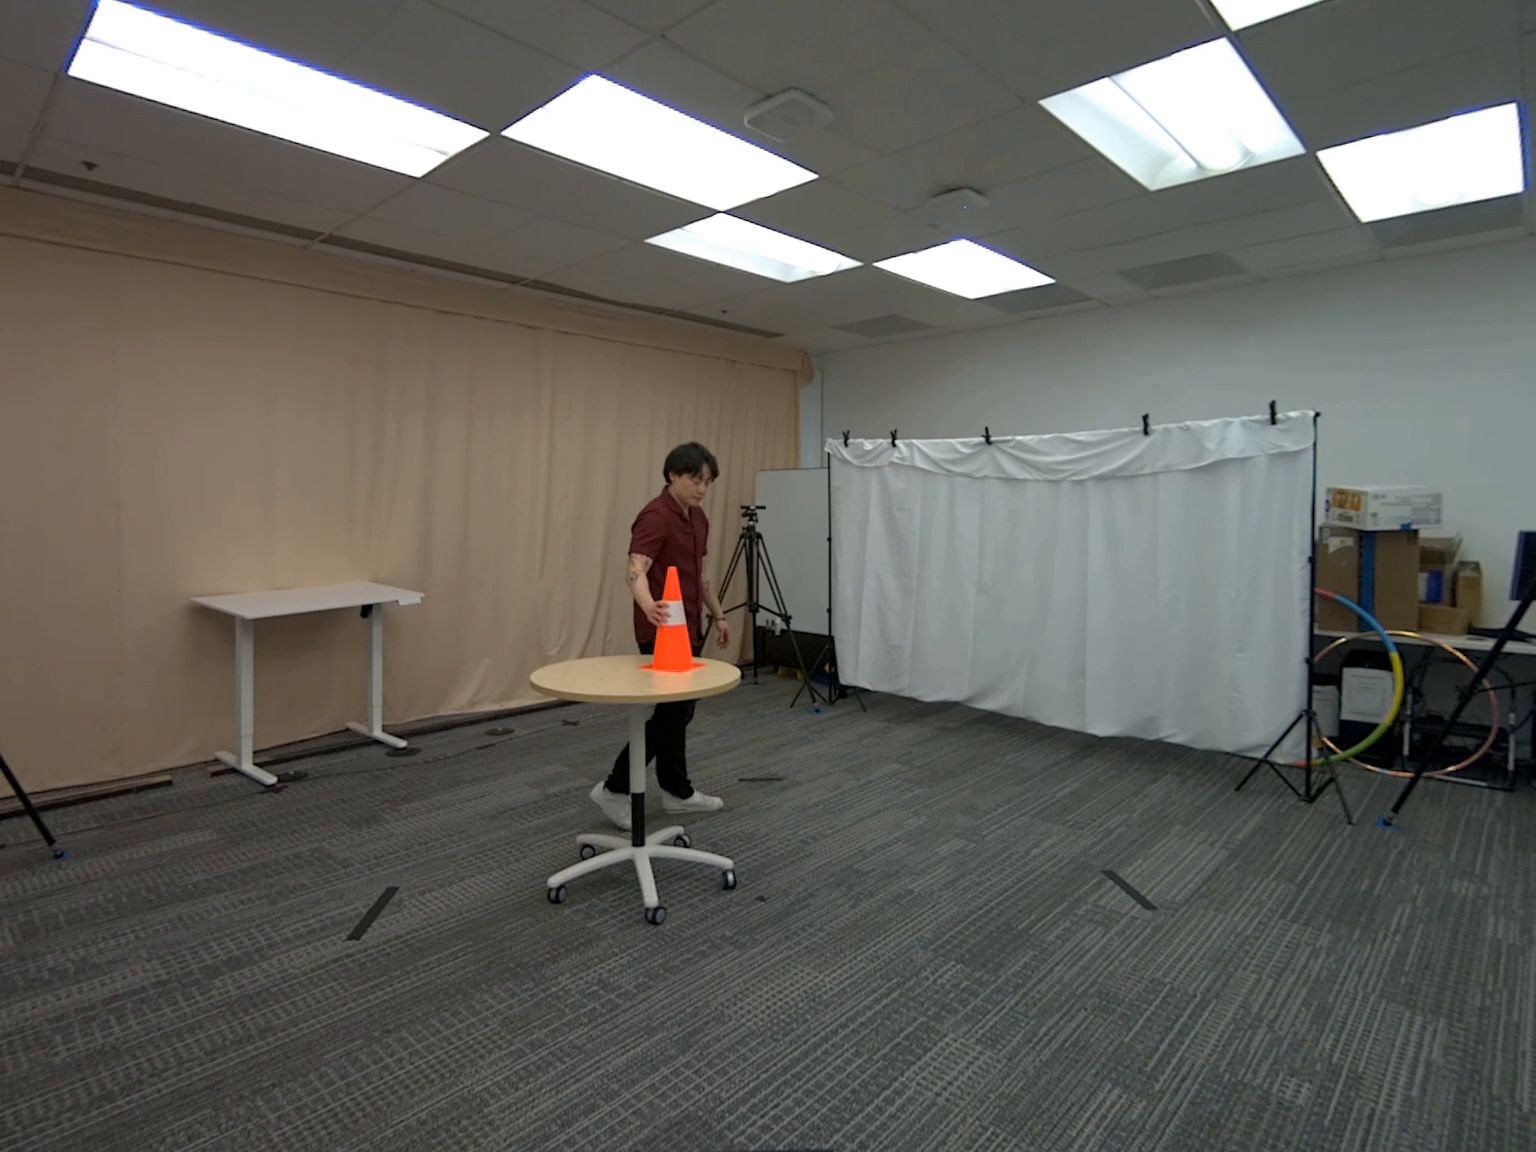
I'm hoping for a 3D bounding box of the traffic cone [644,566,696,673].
[{"bbox_3d":[-0.364,0.158,3.204,0.210,0.383,0.198,2,3,24],"label":"traffic cone"}]
